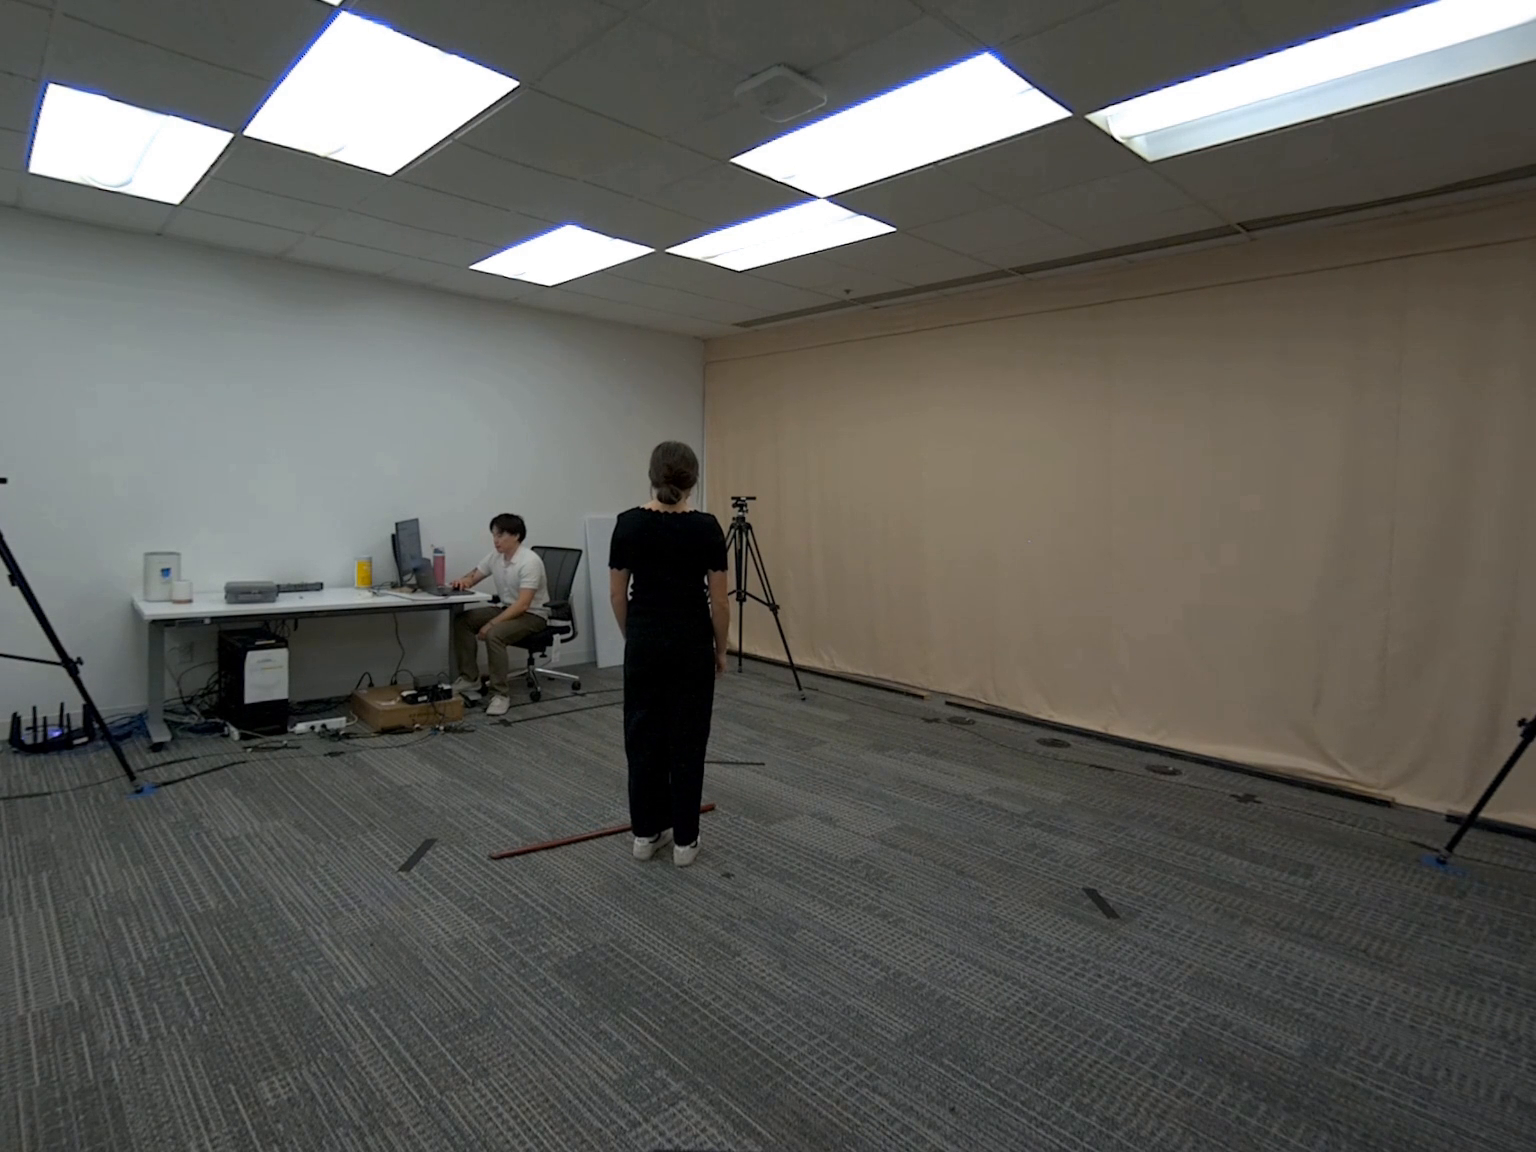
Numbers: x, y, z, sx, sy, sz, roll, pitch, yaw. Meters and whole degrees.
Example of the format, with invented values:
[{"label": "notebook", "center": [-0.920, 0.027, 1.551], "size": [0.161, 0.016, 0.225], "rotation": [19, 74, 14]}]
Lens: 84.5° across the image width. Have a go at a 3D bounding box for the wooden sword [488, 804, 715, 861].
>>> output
[{"label": "wooden sword", "center": [-0.649, 1.043, 3.471], "size": [1.002, 0.024, 0.052], "rotation": [-2, 2, -35]}]
